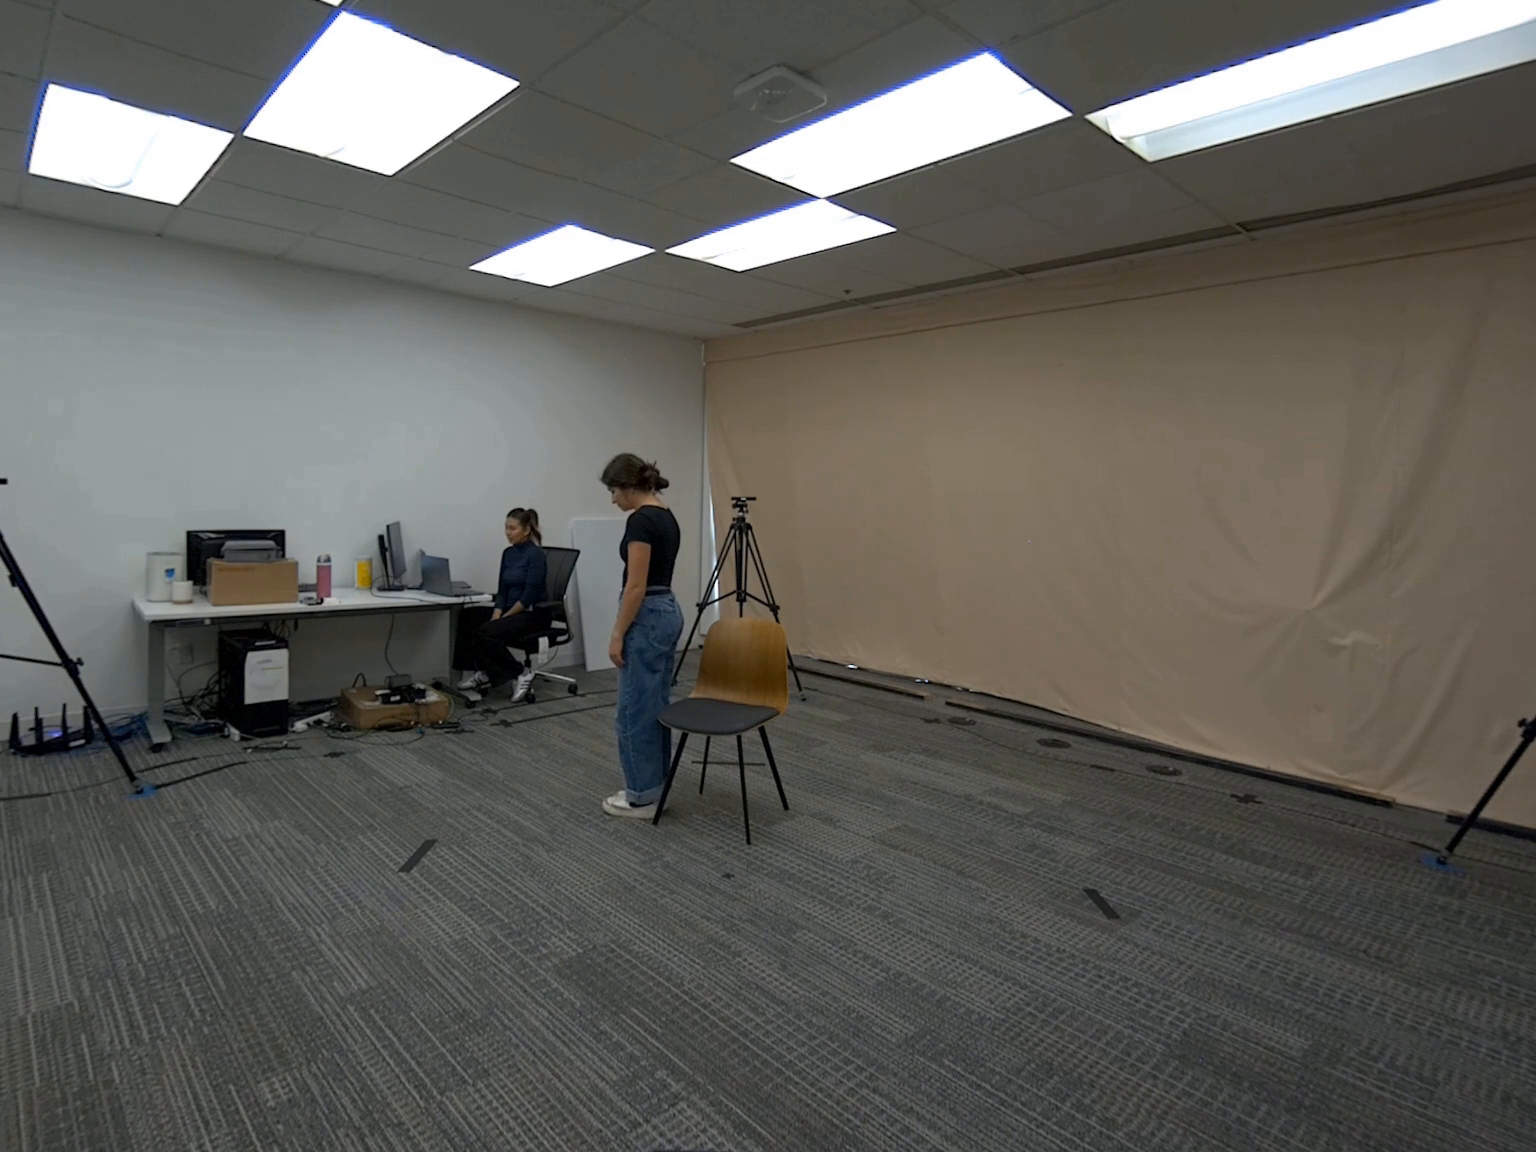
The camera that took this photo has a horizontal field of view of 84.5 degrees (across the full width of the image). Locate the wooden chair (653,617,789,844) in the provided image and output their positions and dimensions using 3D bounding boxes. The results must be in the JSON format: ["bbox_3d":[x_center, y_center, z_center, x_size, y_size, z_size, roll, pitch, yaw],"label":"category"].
[{"bbox_3d":[-0.194,0.629,3.648,0.487,0.878,0.513,2,-1,23],"label":"wooden chair"}]
